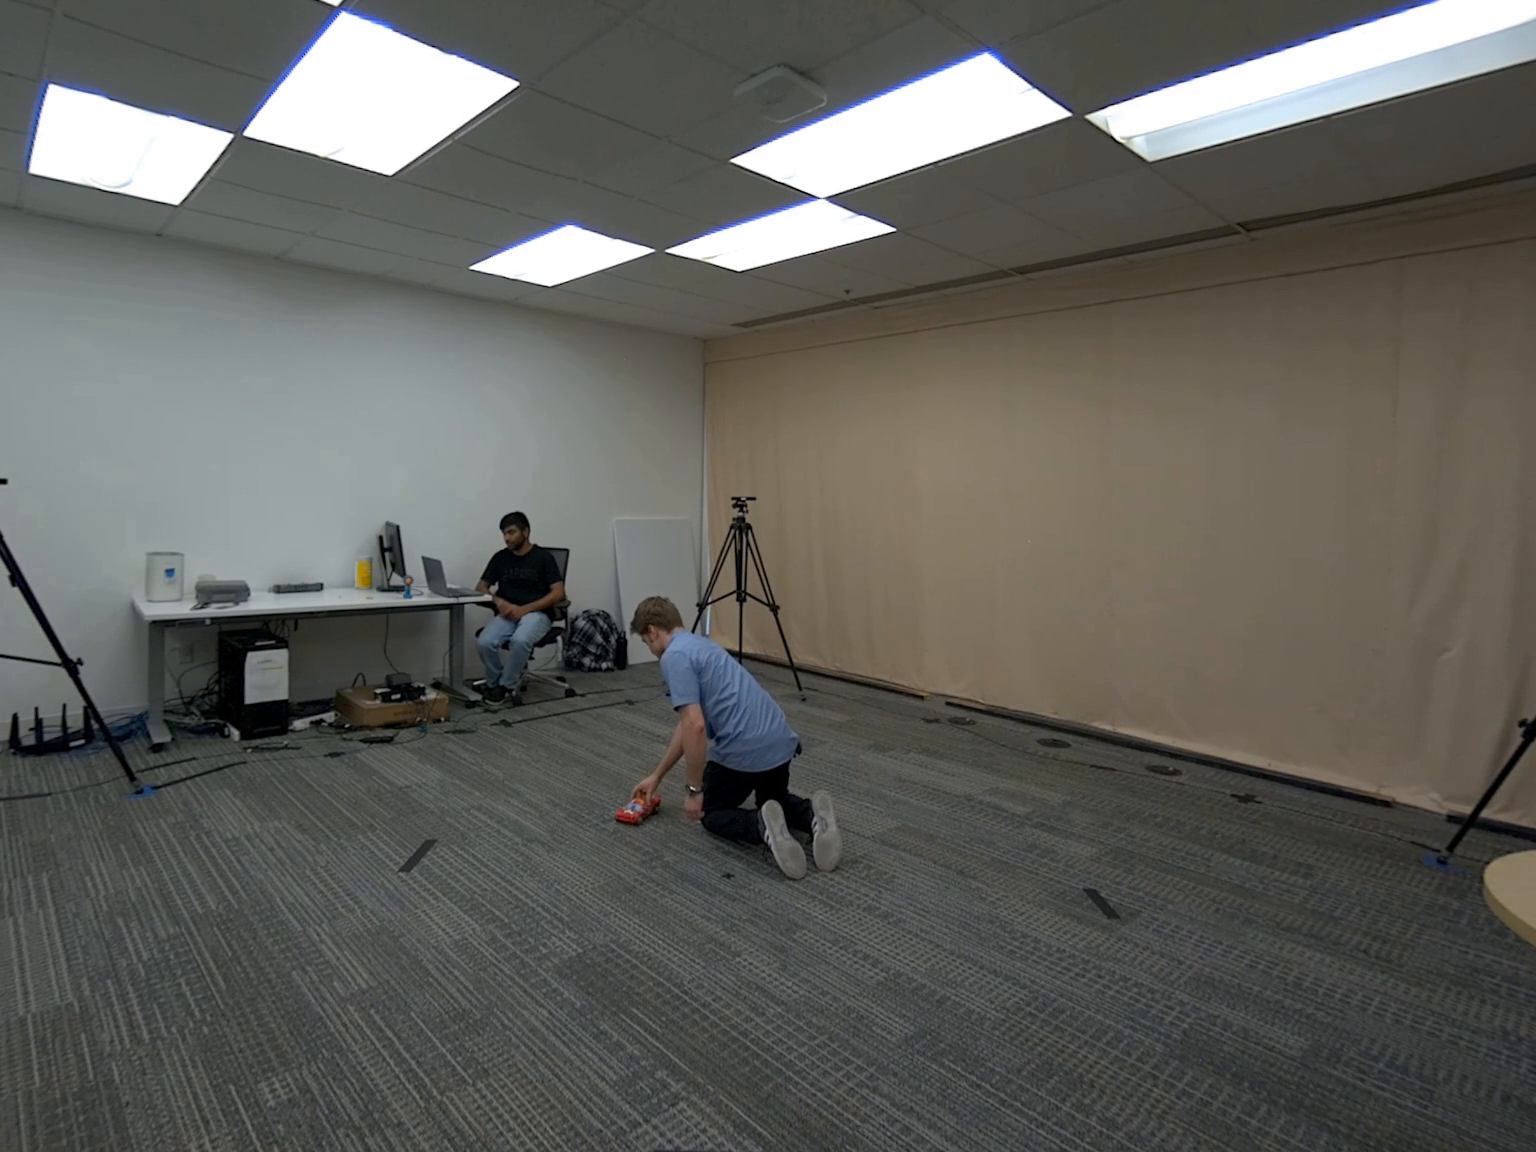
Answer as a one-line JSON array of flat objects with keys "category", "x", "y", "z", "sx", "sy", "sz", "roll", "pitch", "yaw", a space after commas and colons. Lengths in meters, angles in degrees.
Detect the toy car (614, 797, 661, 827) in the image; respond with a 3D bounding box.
[{"category": "toy car", "x": -0.561, "y": 1.011, "z": 3.679, "sx": 0.133, "sy": 0.082, "sz": 0.252, "roll": 1, "pitch": 15, "yaw": 23}]
